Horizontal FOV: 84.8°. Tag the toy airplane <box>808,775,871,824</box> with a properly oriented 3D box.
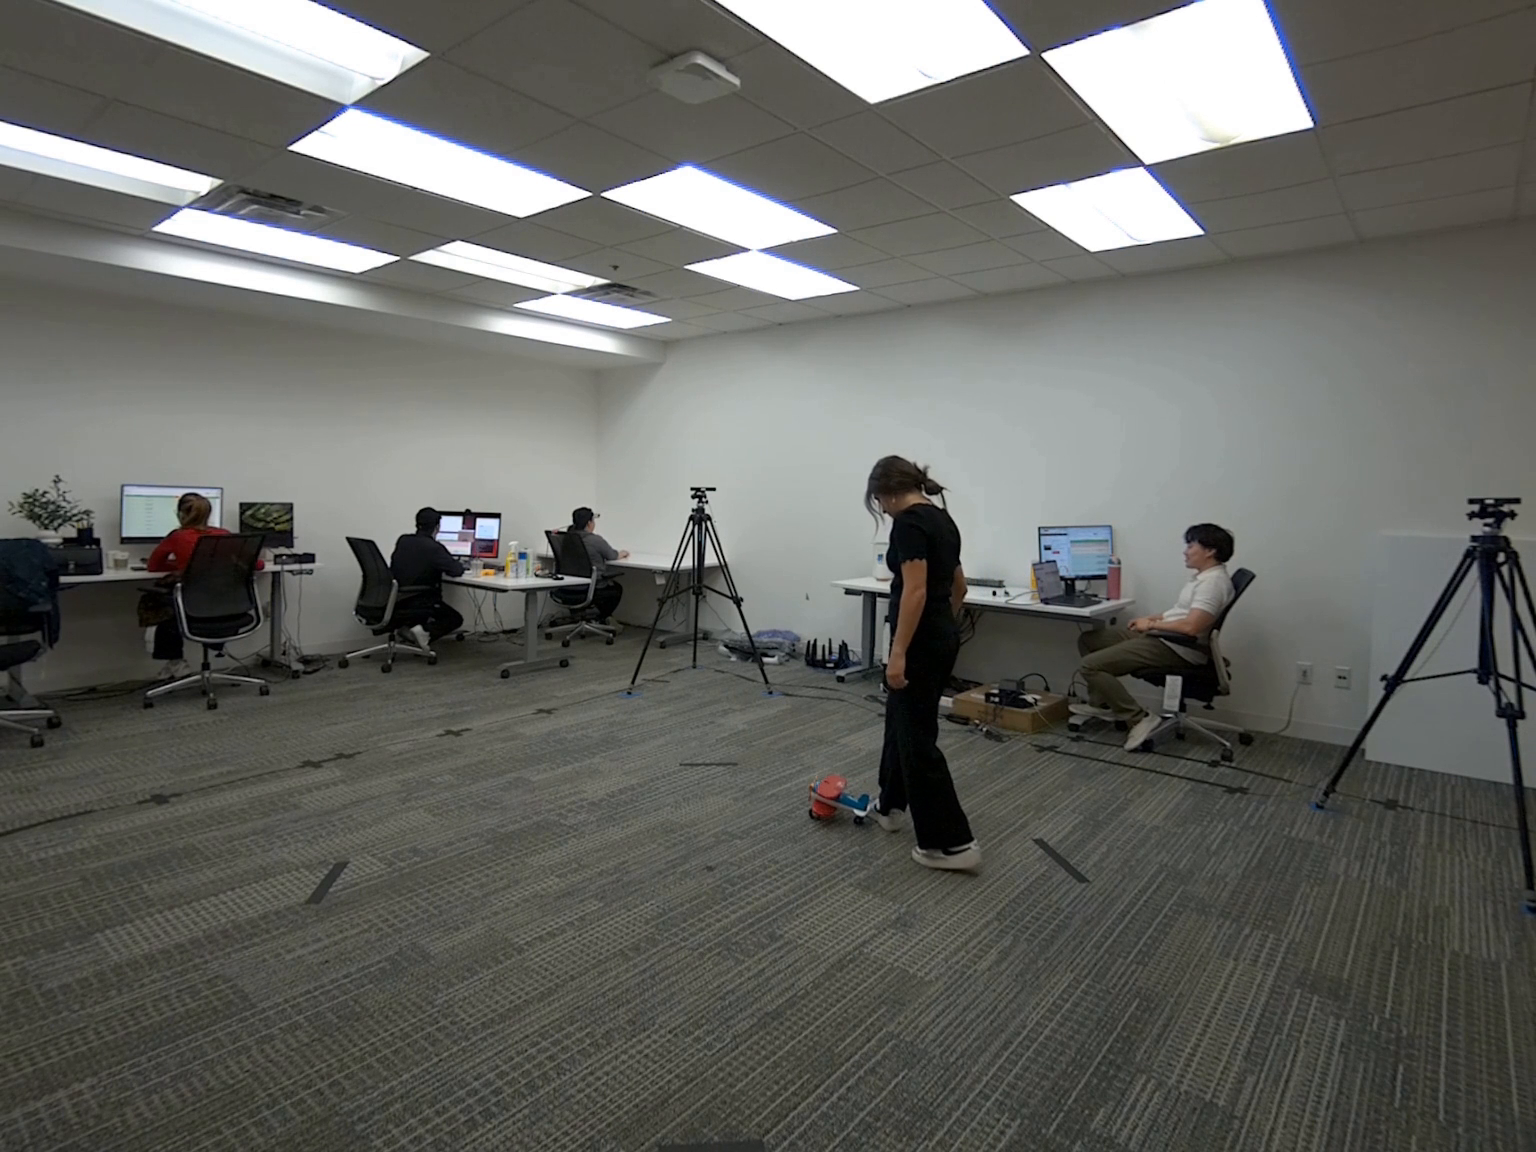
[{"bbox_3d":[0.291,0.952,3.623,0.258,0.156,0.253,-1,5,-6],"label":"toy airplane"}]
